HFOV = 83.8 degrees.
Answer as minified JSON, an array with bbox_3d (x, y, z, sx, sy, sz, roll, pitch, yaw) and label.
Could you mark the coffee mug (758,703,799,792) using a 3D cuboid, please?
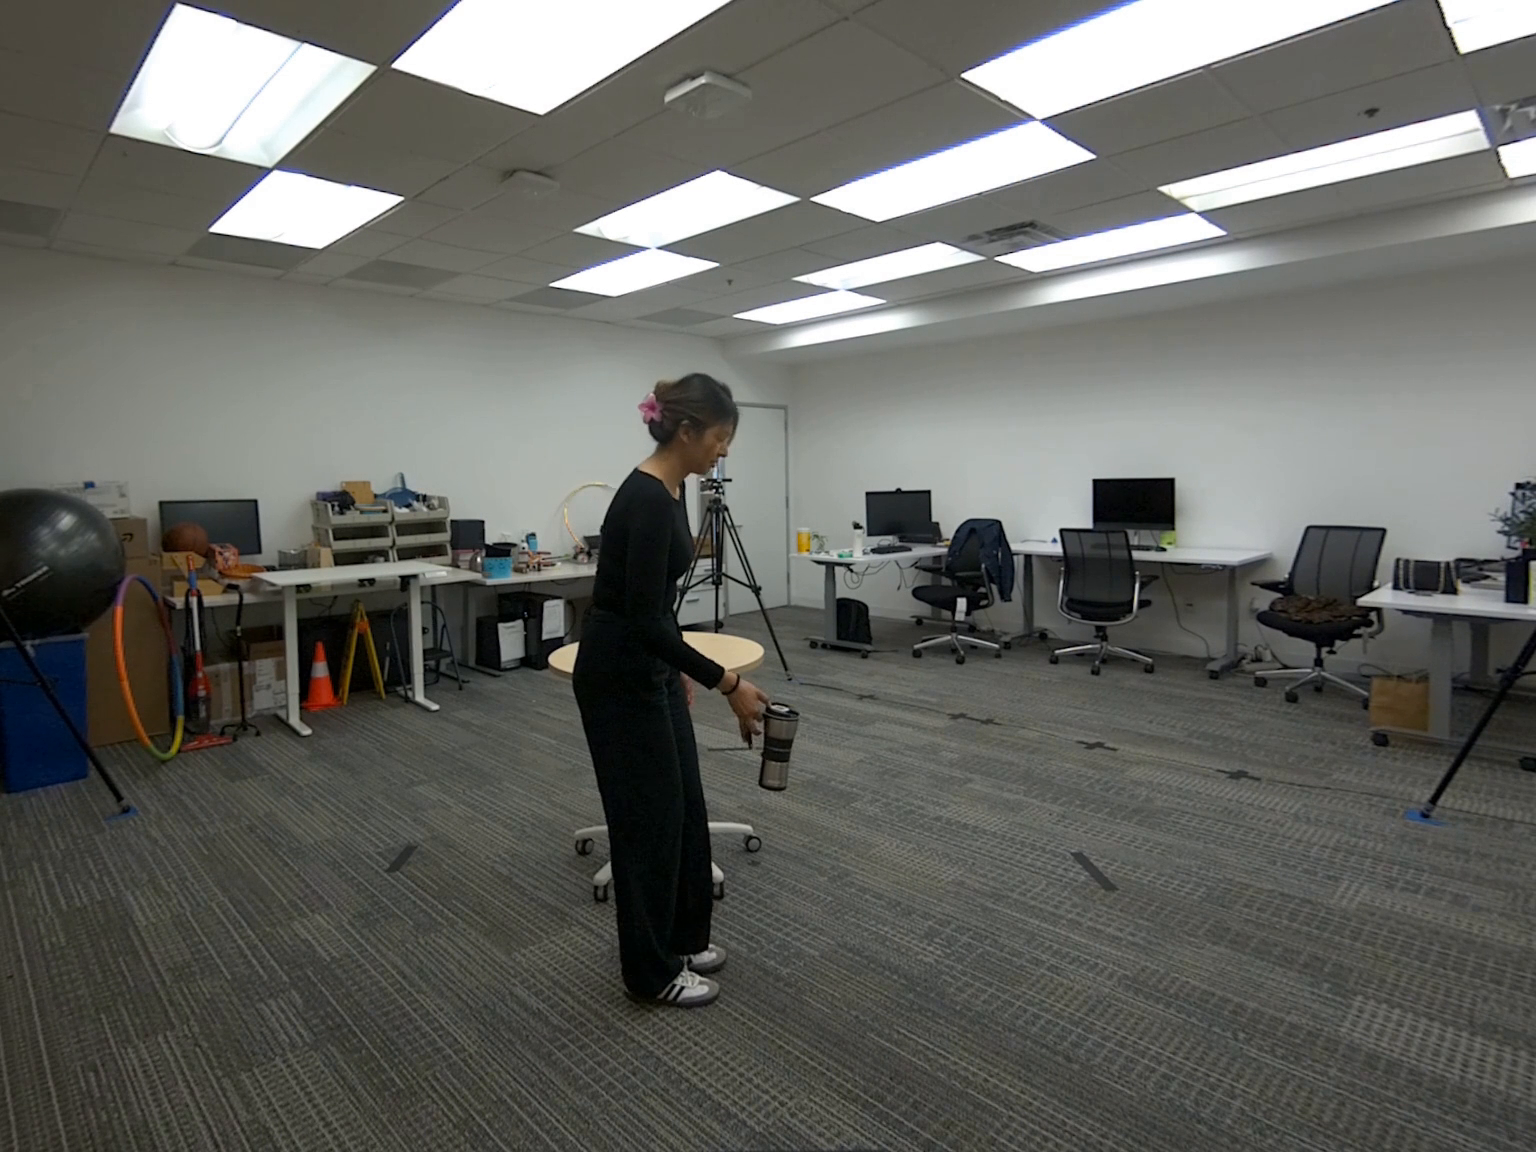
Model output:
[{"bbox_3d":[0.012,0.429,2.151,0.126,0.202,0.085,14,10,41],"label":"coffee mug"}]
